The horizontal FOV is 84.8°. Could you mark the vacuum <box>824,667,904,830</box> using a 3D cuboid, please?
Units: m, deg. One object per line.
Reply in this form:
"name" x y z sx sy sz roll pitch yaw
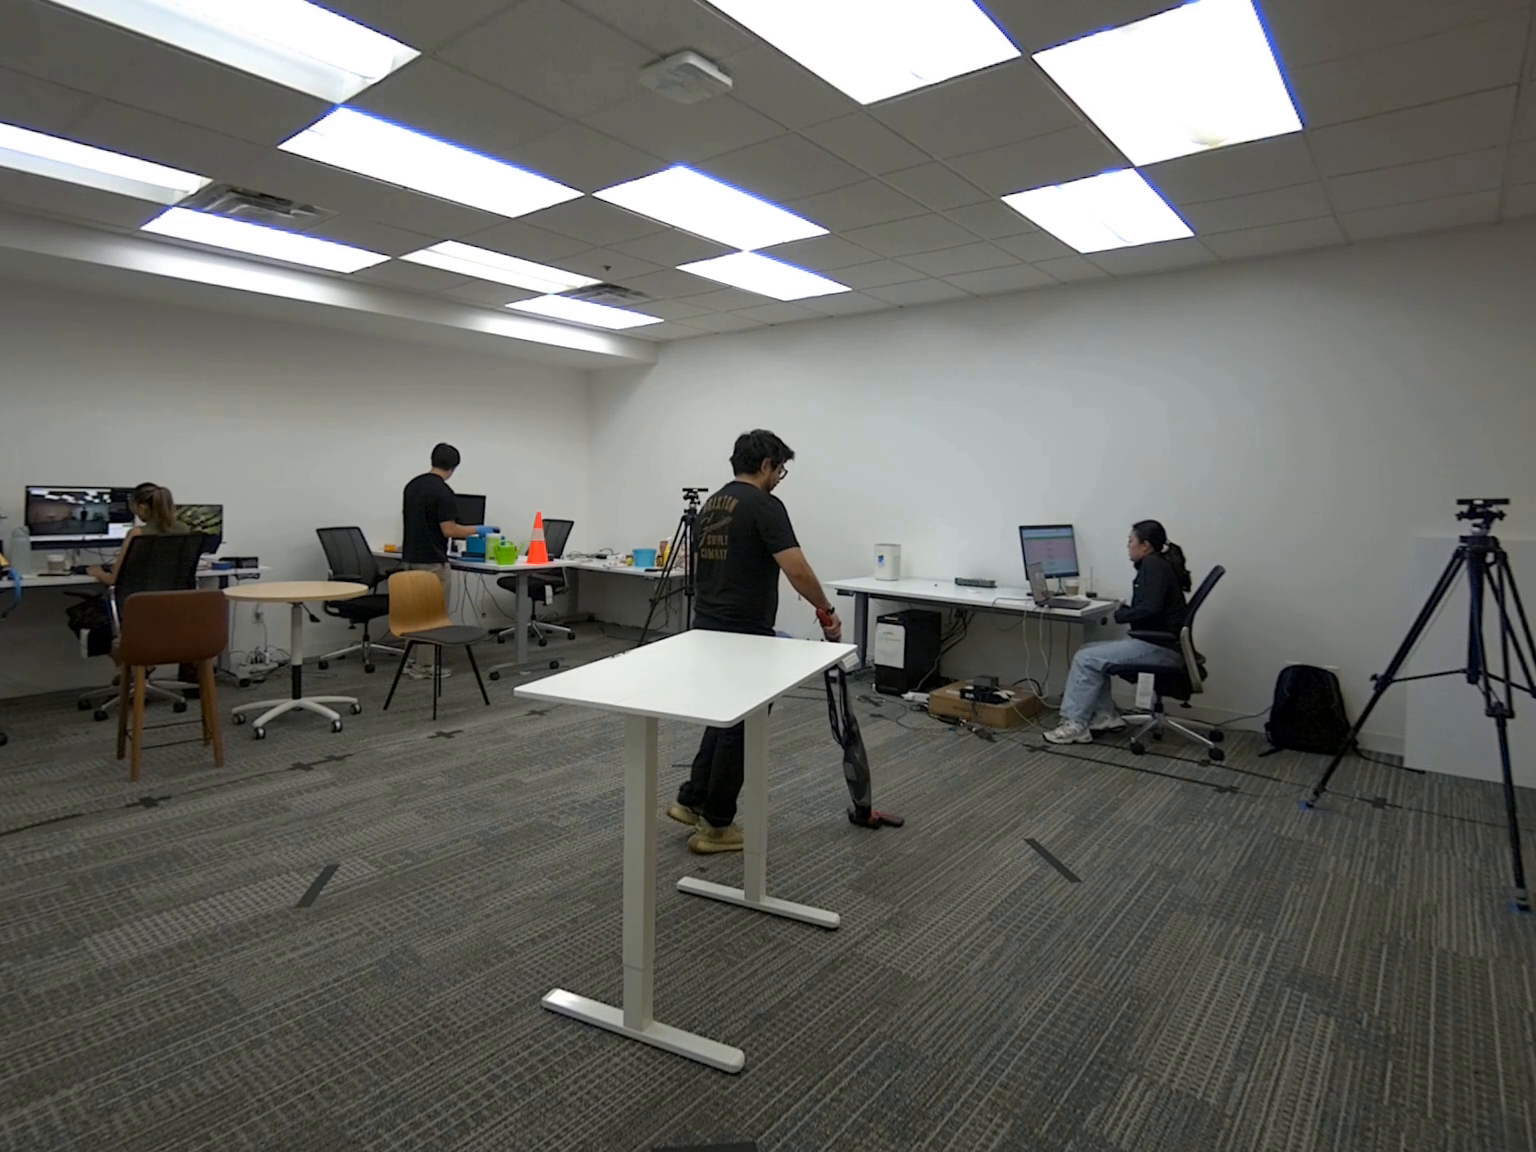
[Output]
"vacuum" 0.309 0.587 3.400 0.261 1.021 0.143 5 31 38
